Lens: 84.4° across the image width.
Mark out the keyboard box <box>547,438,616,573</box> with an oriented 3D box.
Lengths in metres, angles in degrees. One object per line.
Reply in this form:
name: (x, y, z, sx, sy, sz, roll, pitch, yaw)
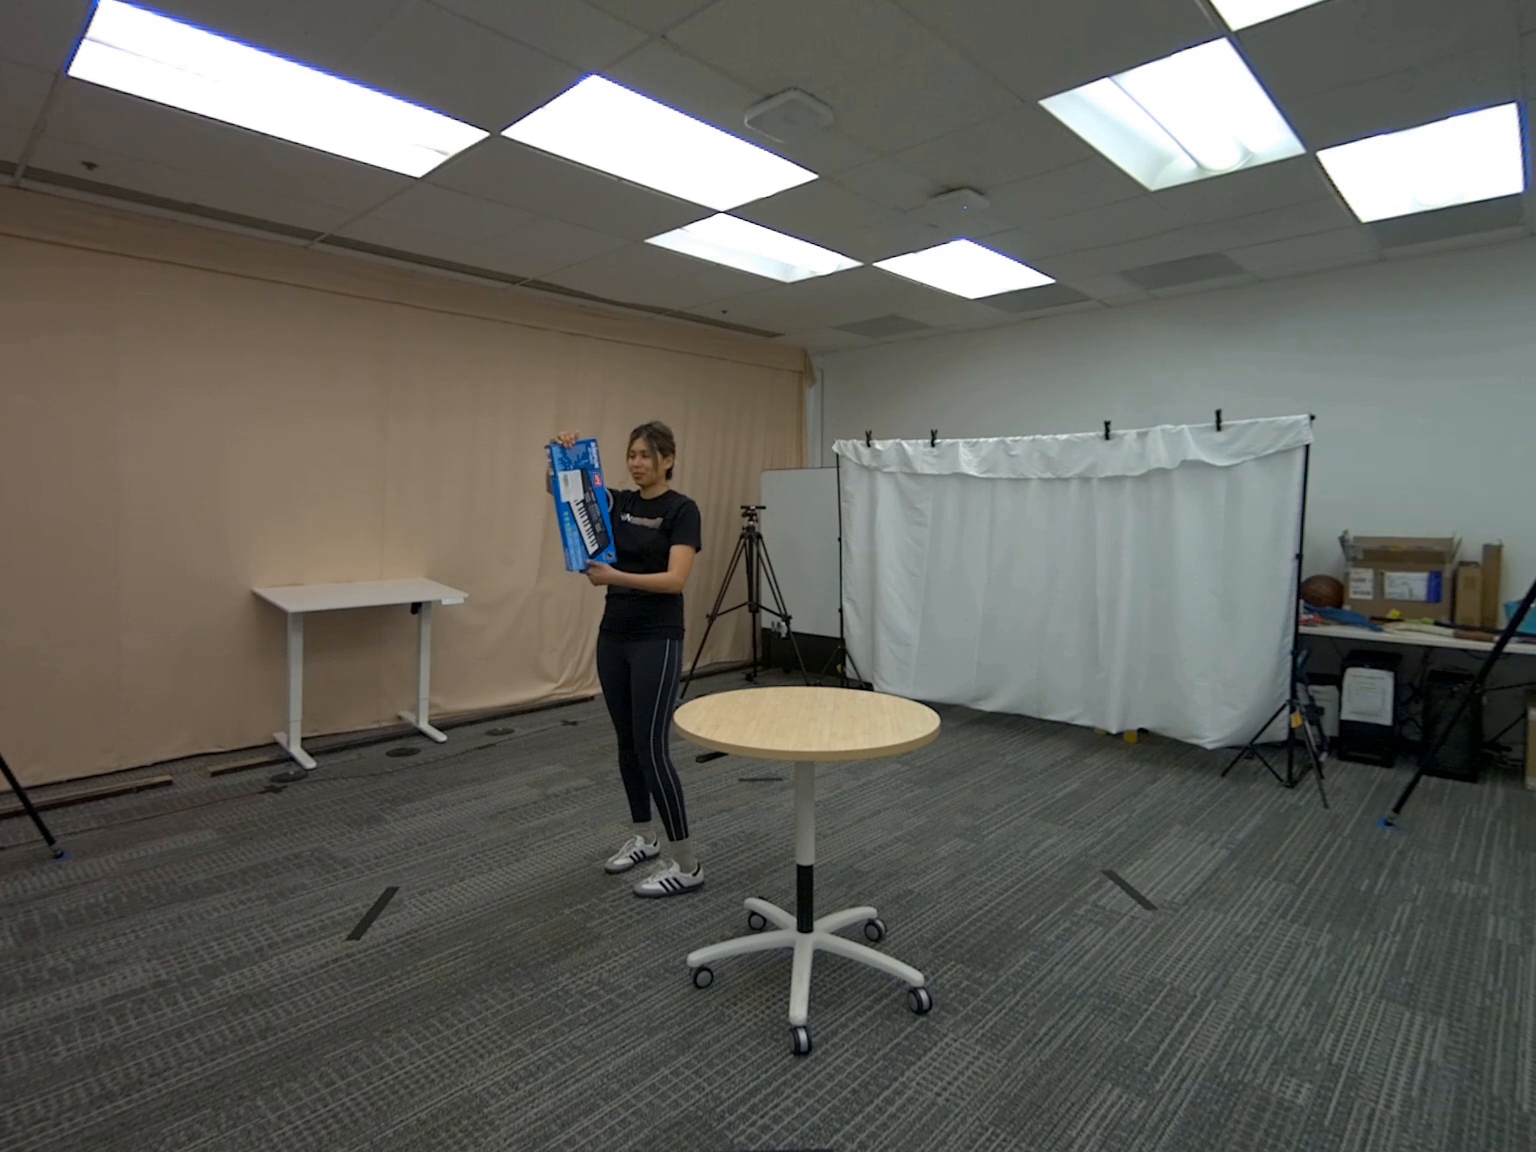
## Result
keyboard box: (-0.645, -0.244, 2.914, 0.172, 0.433, 0.061, -13, 11, -30)
